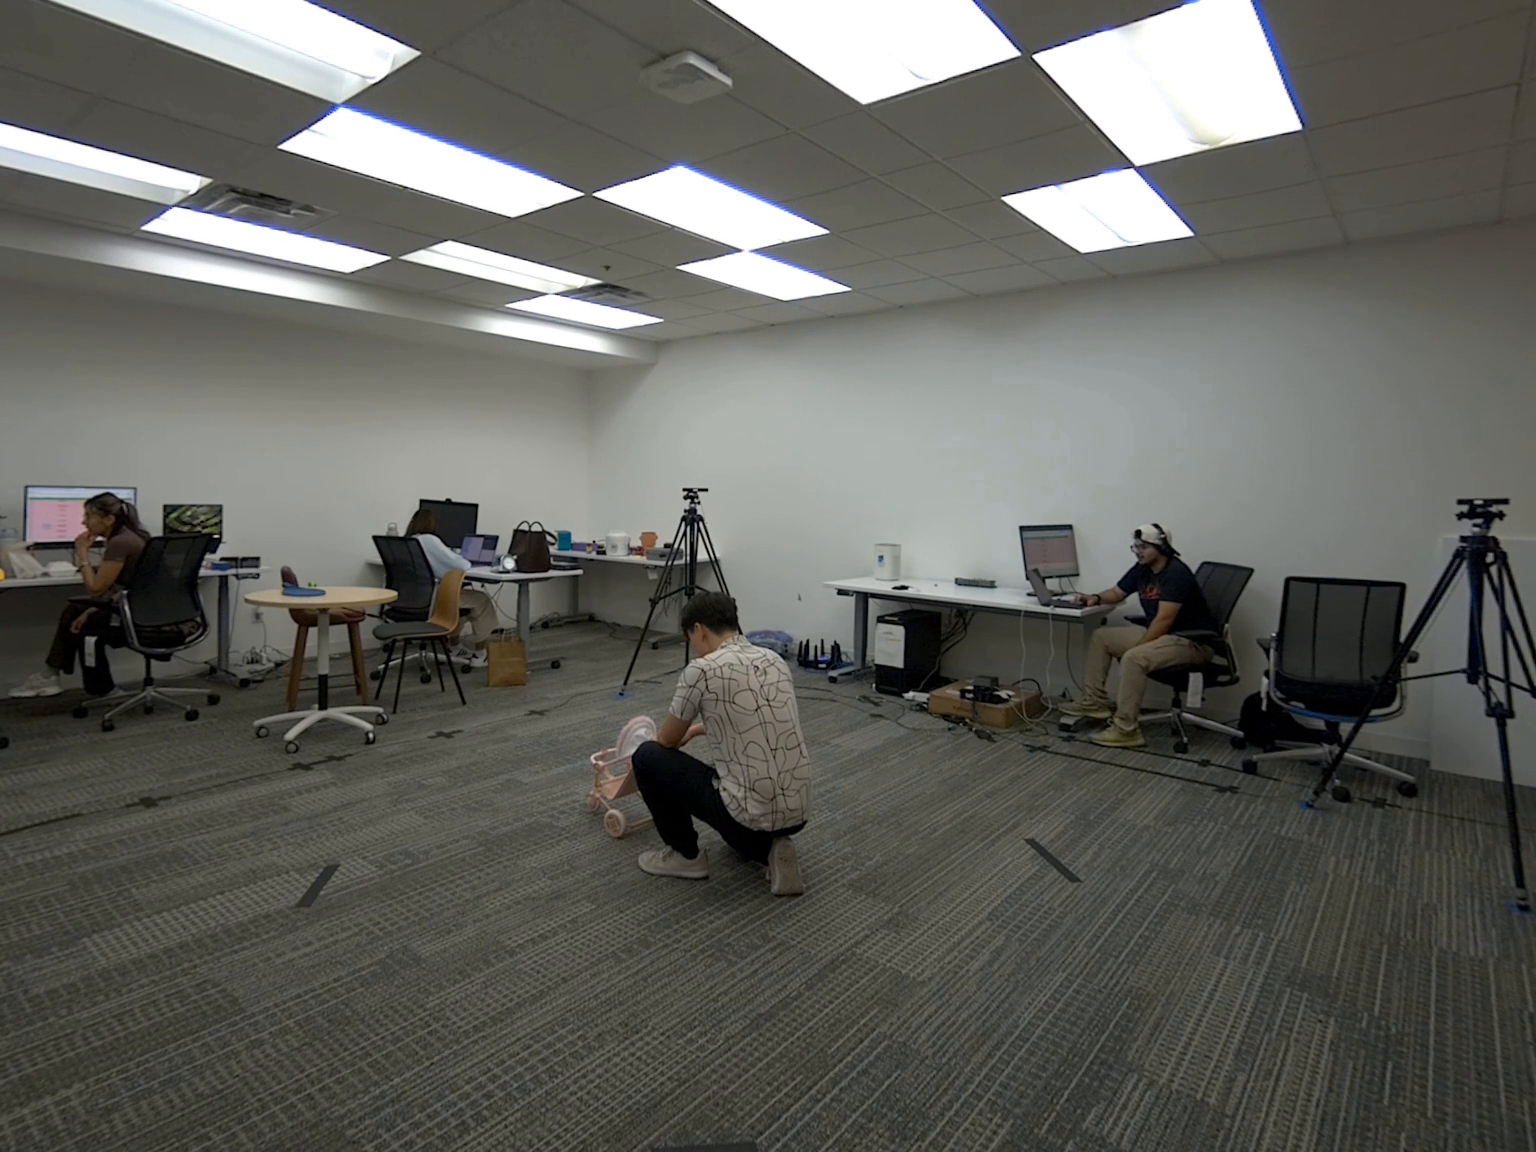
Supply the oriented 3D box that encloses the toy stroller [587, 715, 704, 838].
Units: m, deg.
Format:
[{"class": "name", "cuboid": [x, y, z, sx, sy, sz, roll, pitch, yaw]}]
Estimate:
[{"class": "toy stroller", "cuboid": [-0.582, 0.801, 3.505, 0.355, 0.530, 0.272, 30, 19, 36]}]
